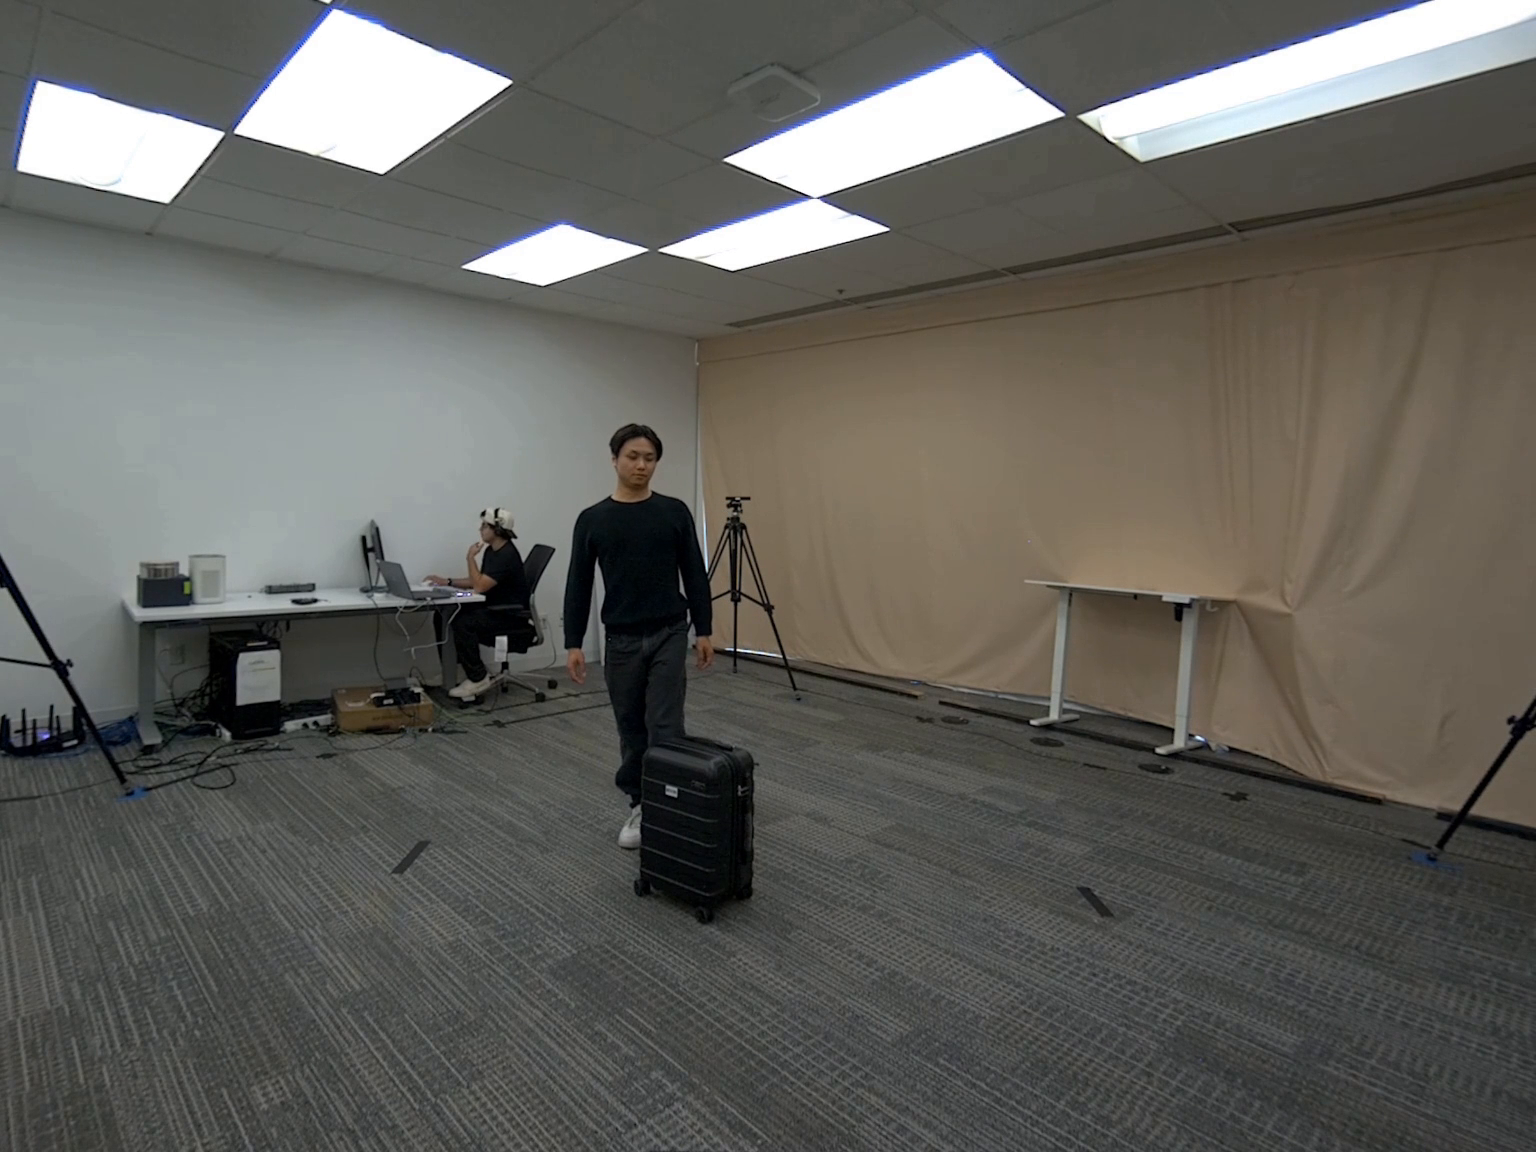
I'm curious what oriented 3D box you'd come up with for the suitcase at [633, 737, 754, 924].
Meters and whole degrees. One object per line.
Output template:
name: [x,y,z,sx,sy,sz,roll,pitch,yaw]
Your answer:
suitcase: [-0.247,0.848,2.902,0.384,0.547,0.243,5,6,36]
